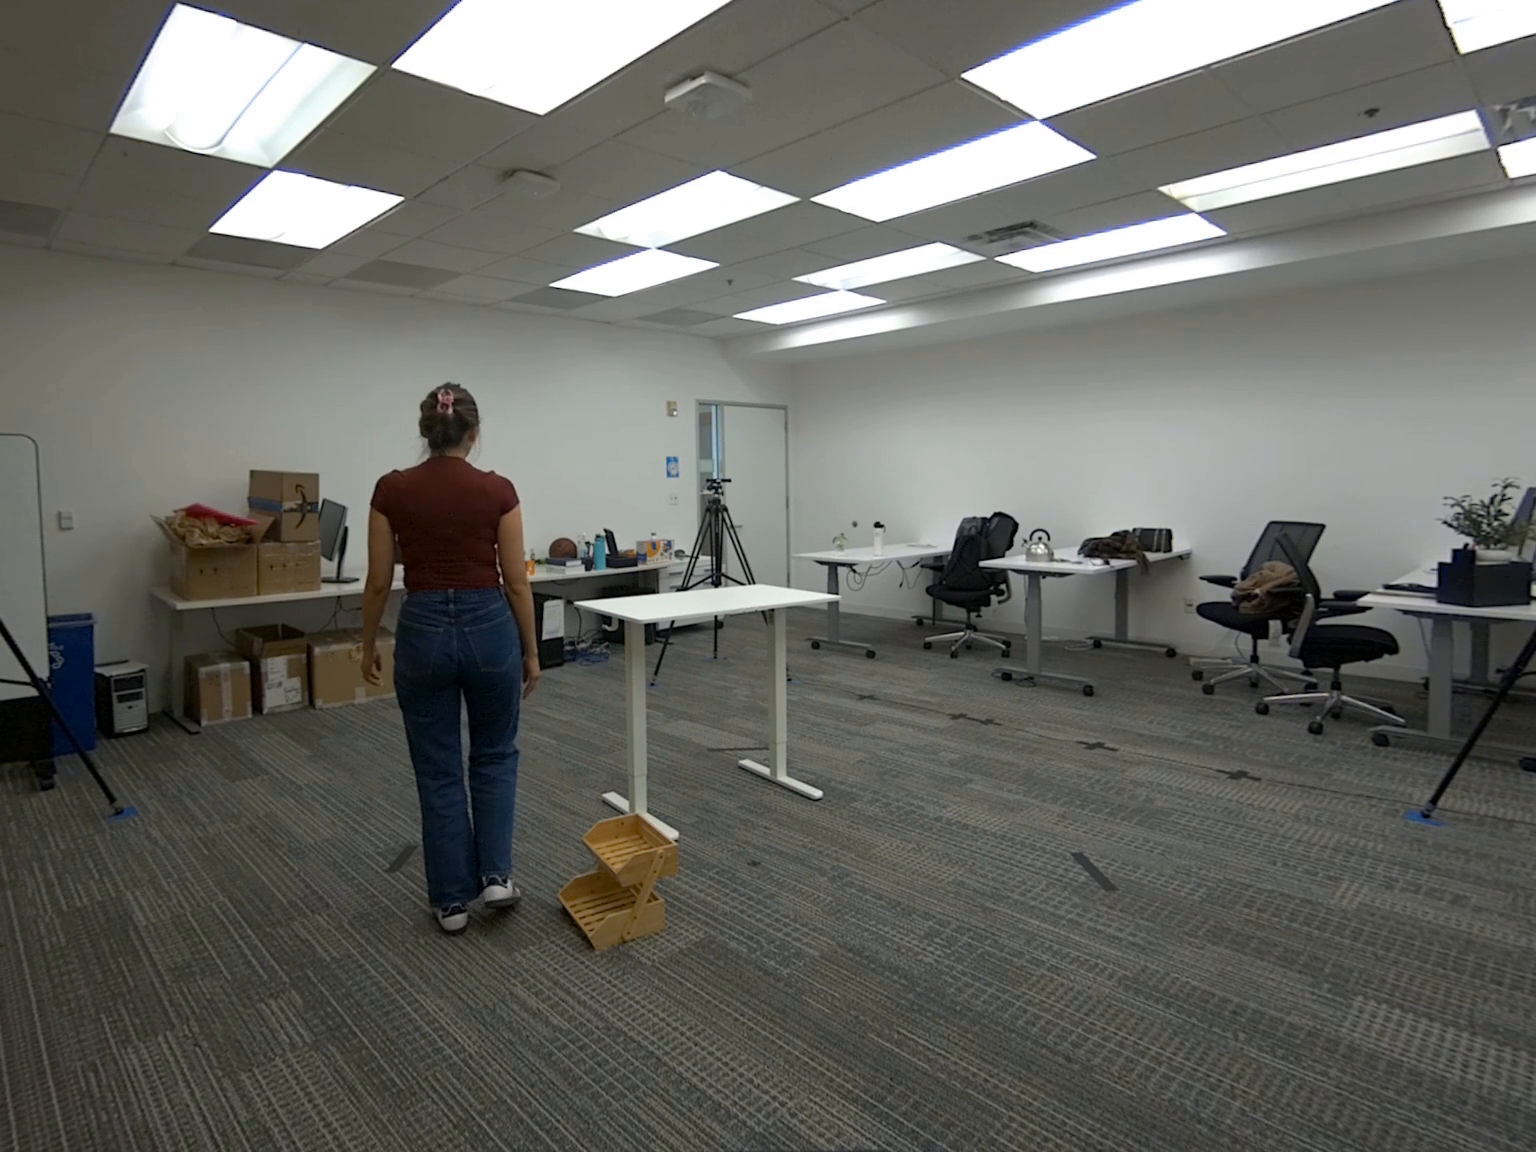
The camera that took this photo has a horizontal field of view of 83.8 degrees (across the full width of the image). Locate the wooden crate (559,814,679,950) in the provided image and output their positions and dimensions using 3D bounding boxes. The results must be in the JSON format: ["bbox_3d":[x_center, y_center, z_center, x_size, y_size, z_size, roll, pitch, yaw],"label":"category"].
[{"bbox_3d":[-0.486,0.958,2.734,0.295,0.272,0.333,-4,6,-31],"label":"wooden crate"}]
